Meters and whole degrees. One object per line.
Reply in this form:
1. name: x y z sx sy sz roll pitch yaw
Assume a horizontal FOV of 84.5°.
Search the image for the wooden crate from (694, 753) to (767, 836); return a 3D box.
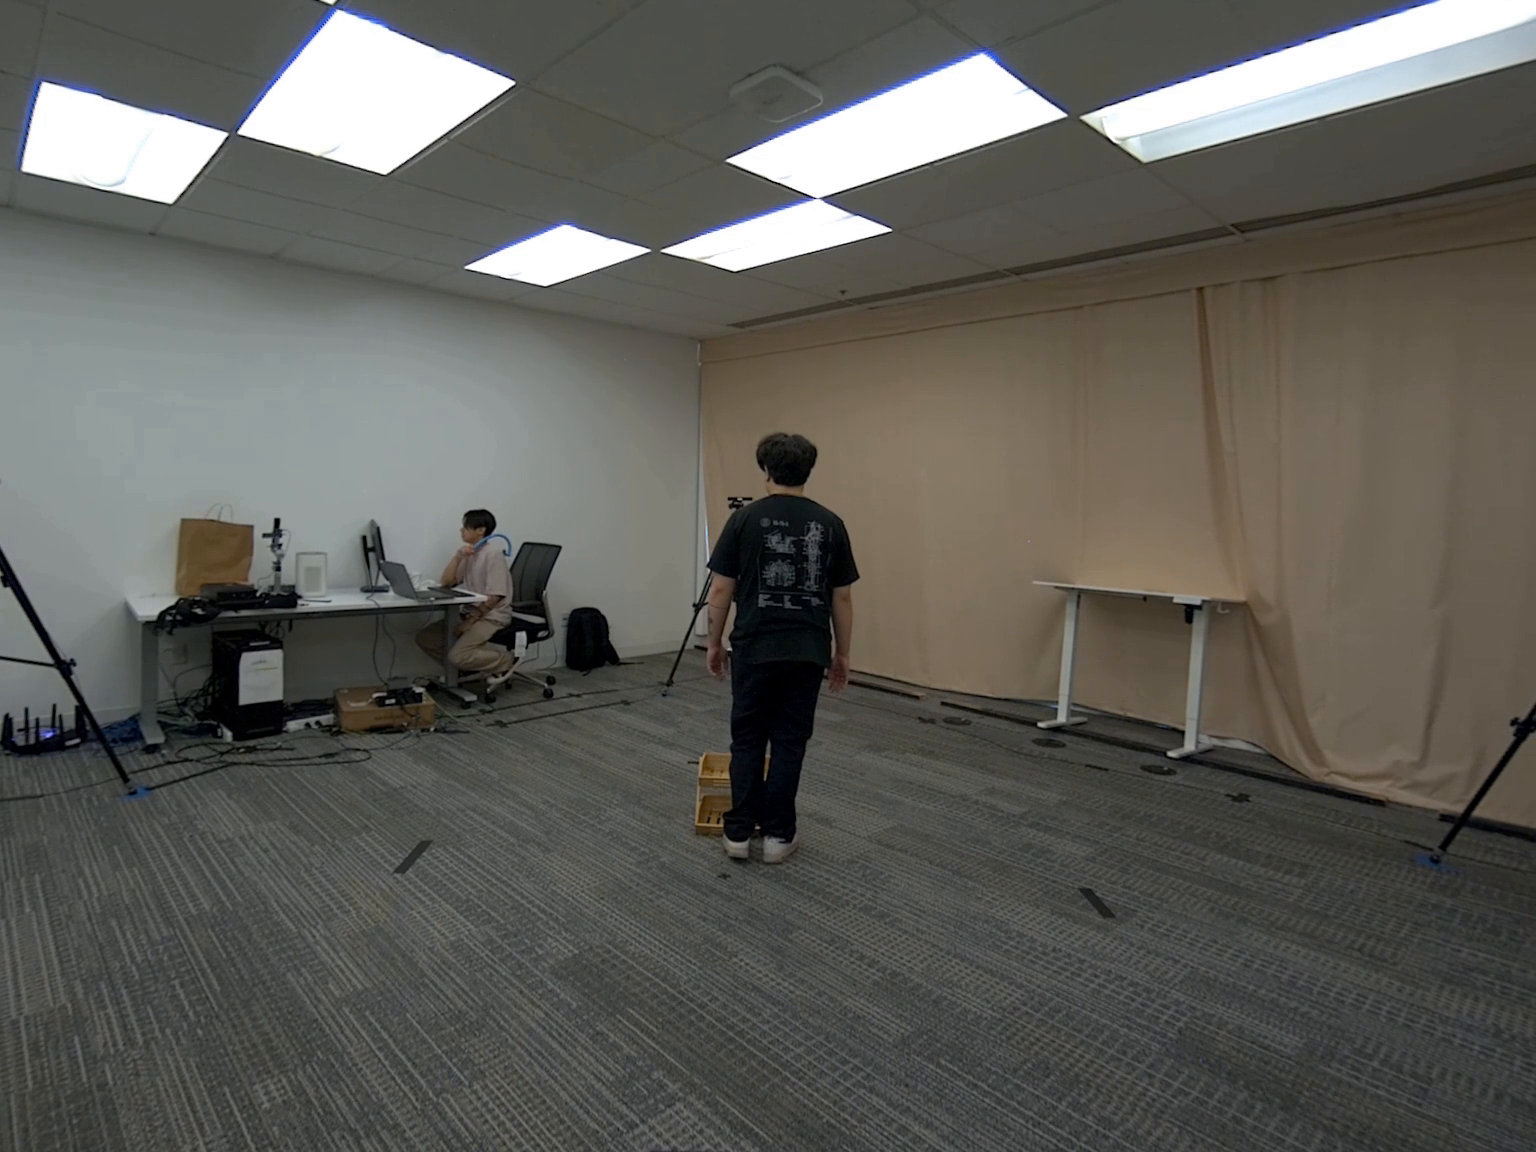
1. wooden crate: -0.150 0.932 3.595 0.325 0.272 0.302 2 4 3
